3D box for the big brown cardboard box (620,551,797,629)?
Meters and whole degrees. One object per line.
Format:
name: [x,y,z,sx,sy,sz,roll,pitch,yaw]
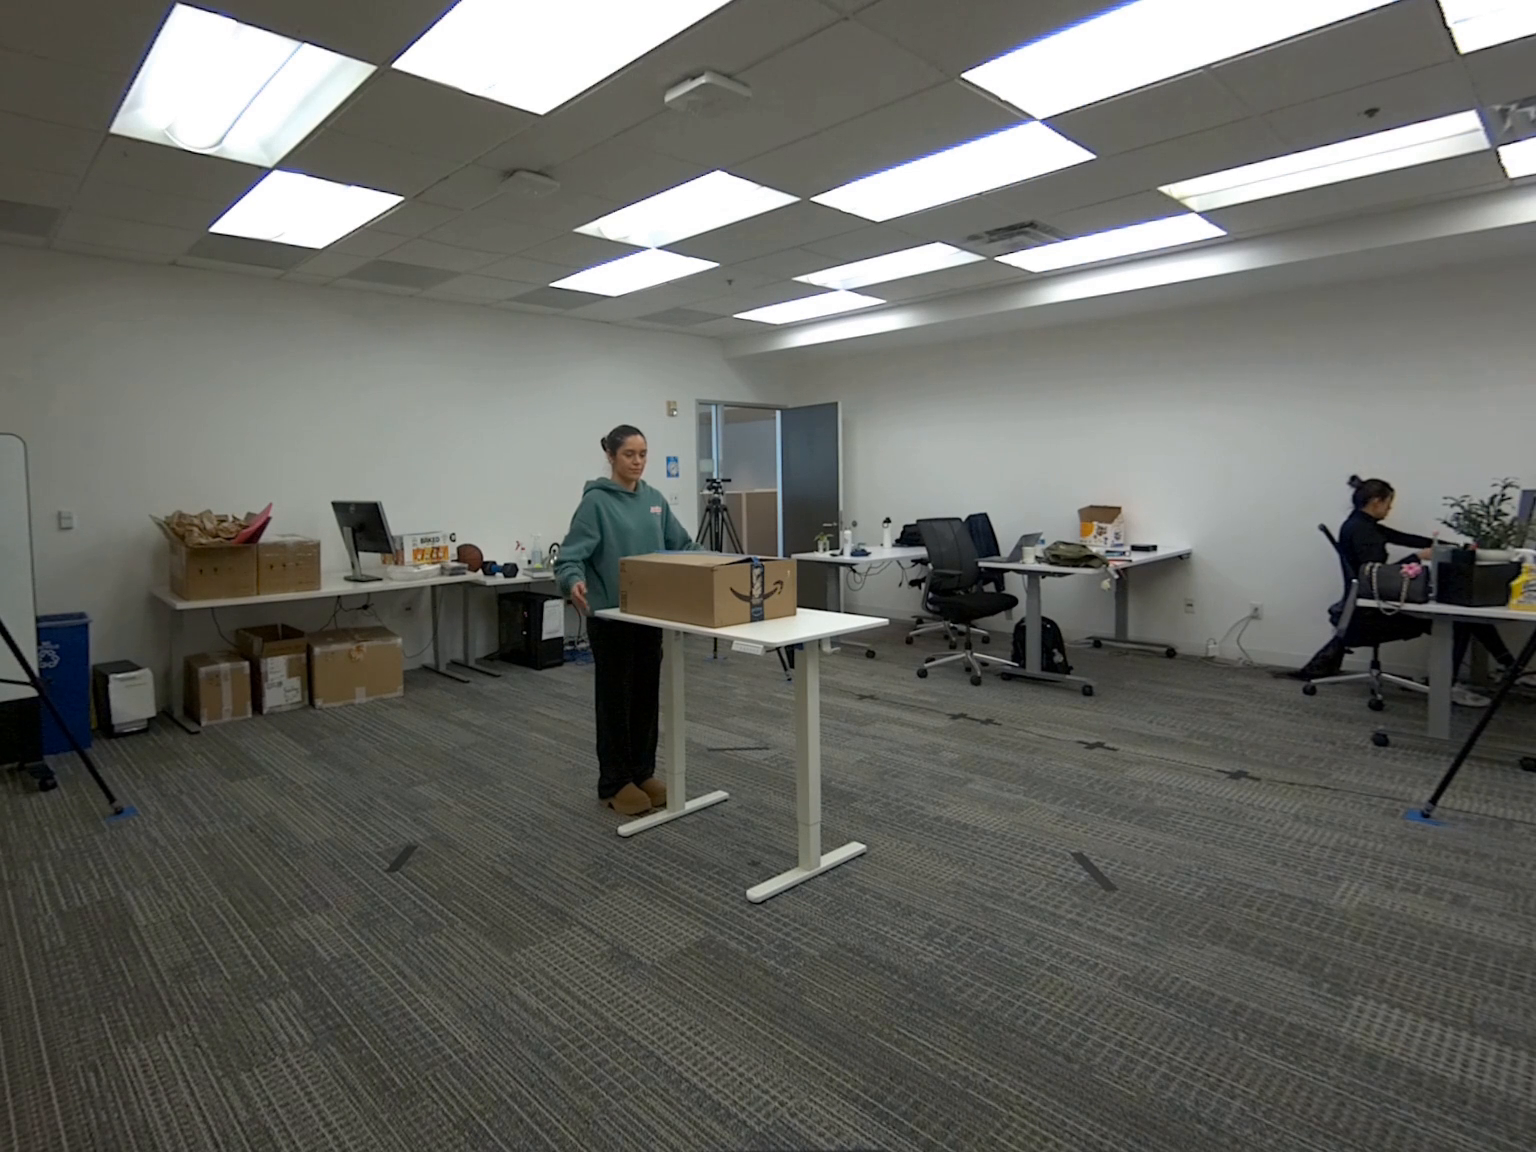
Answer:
big brown cardboard box: [-0.232,0.038,3.268,0.406,0.232,0.607,-6,7,-44]
